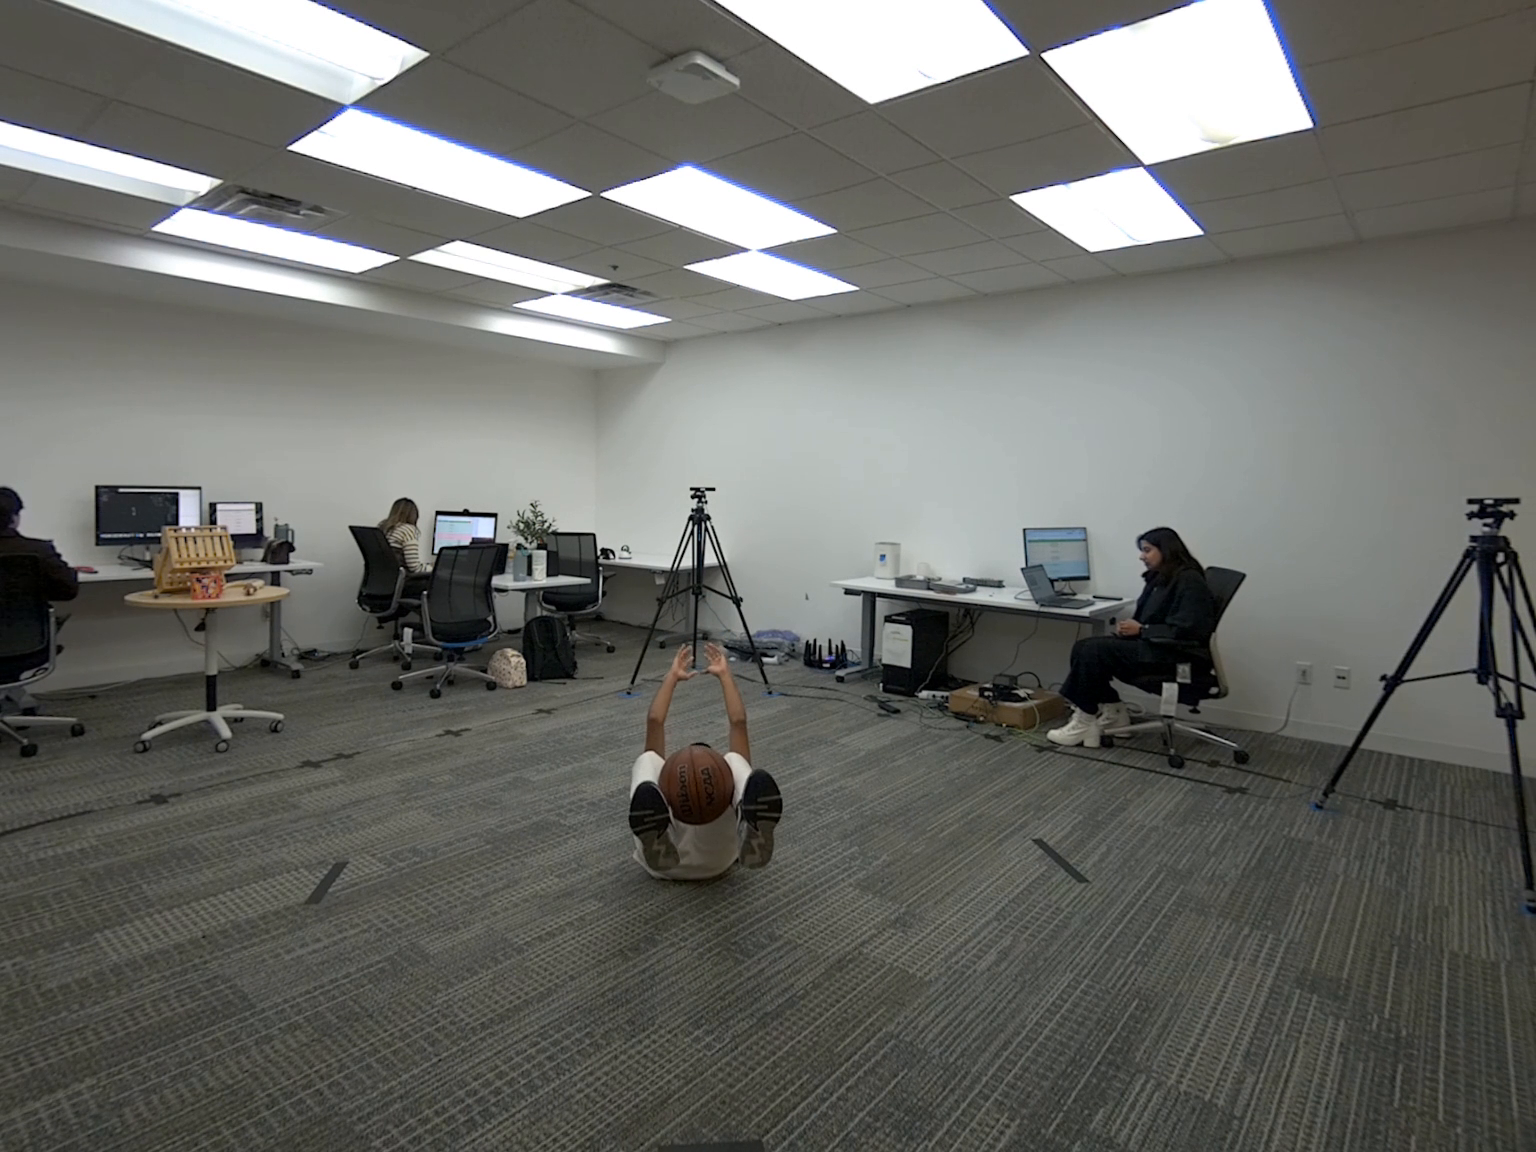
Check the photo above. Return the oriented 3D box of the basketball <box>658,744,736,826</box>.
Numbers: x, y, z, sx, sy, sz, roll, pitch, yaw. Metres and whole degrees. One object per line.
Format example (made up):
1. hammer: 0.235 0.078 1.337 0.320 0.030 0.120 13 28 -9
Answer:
1. basketball: -0.233 0.647 2.651 0.235 0.235 0.237 1 4 -2
